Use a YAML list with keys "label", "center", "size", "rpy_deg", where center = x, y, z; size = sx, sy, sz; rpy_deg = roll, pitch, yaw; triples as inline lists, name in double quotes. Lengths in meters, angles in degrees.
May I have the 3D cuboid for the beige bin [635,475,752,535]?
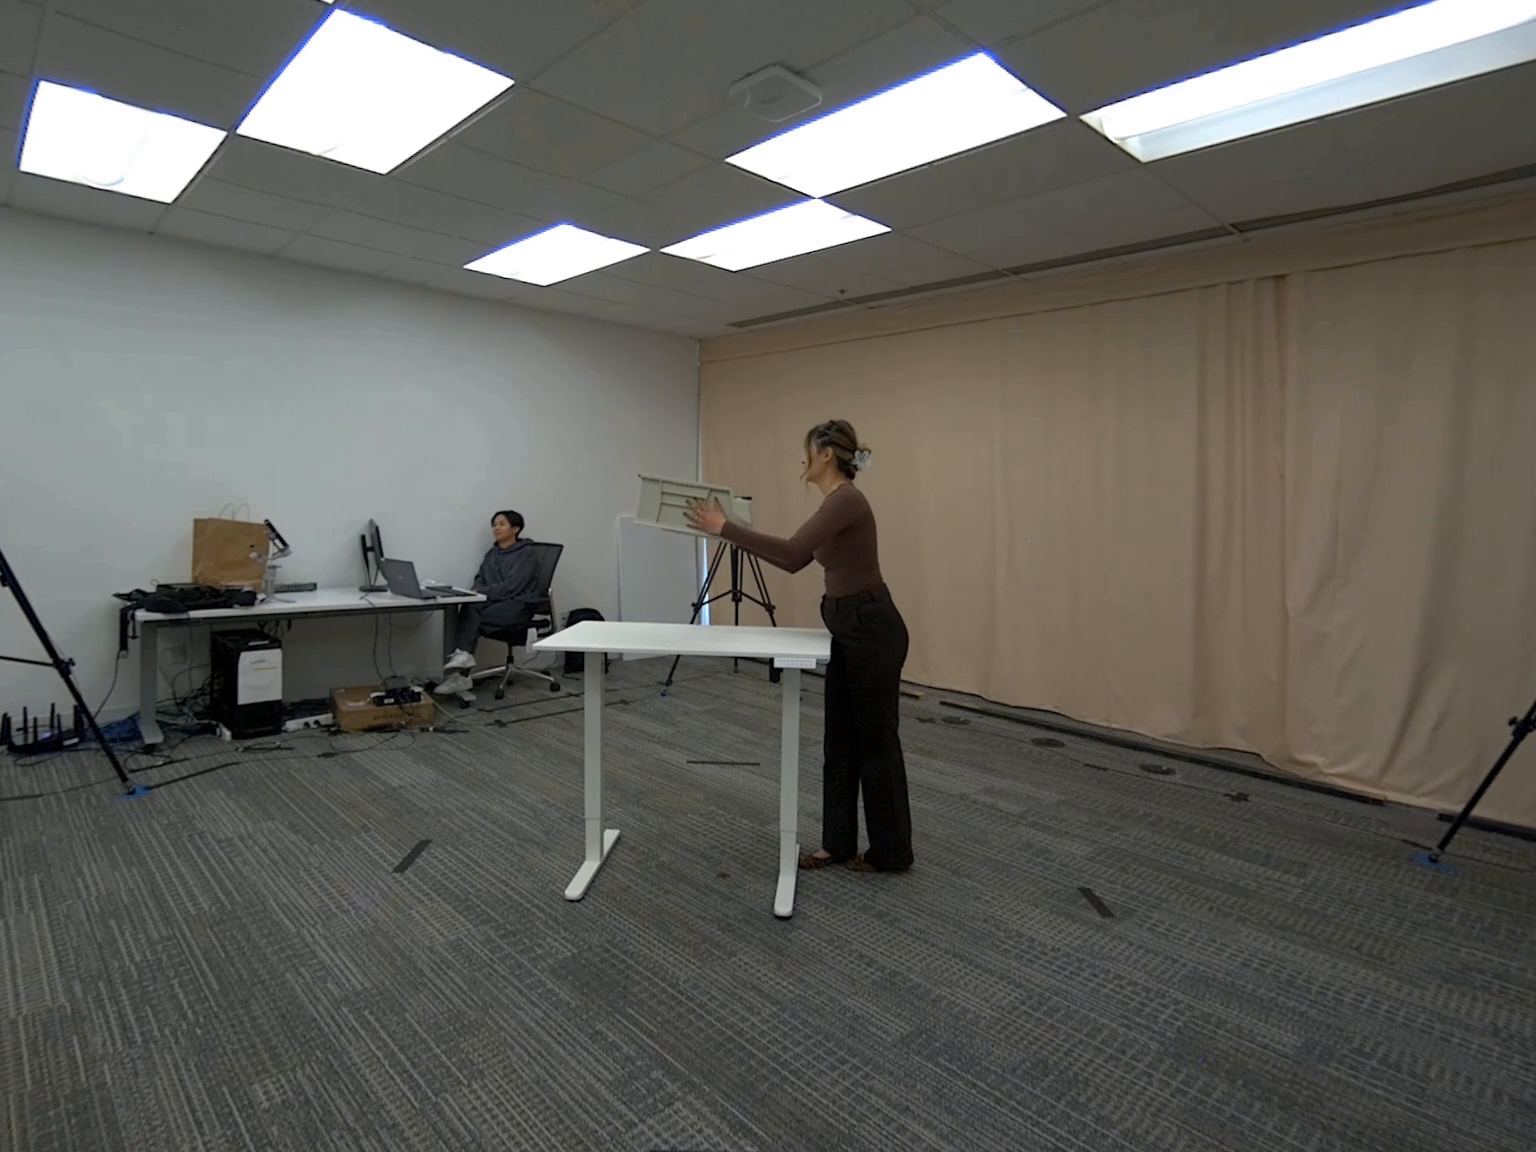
- label: "beige bin"
  center: [-0.270, -0.243, 3.168]
  size: [0.380, 0.189, 0.420]
  rpy_deg: [8, 2, 6]
